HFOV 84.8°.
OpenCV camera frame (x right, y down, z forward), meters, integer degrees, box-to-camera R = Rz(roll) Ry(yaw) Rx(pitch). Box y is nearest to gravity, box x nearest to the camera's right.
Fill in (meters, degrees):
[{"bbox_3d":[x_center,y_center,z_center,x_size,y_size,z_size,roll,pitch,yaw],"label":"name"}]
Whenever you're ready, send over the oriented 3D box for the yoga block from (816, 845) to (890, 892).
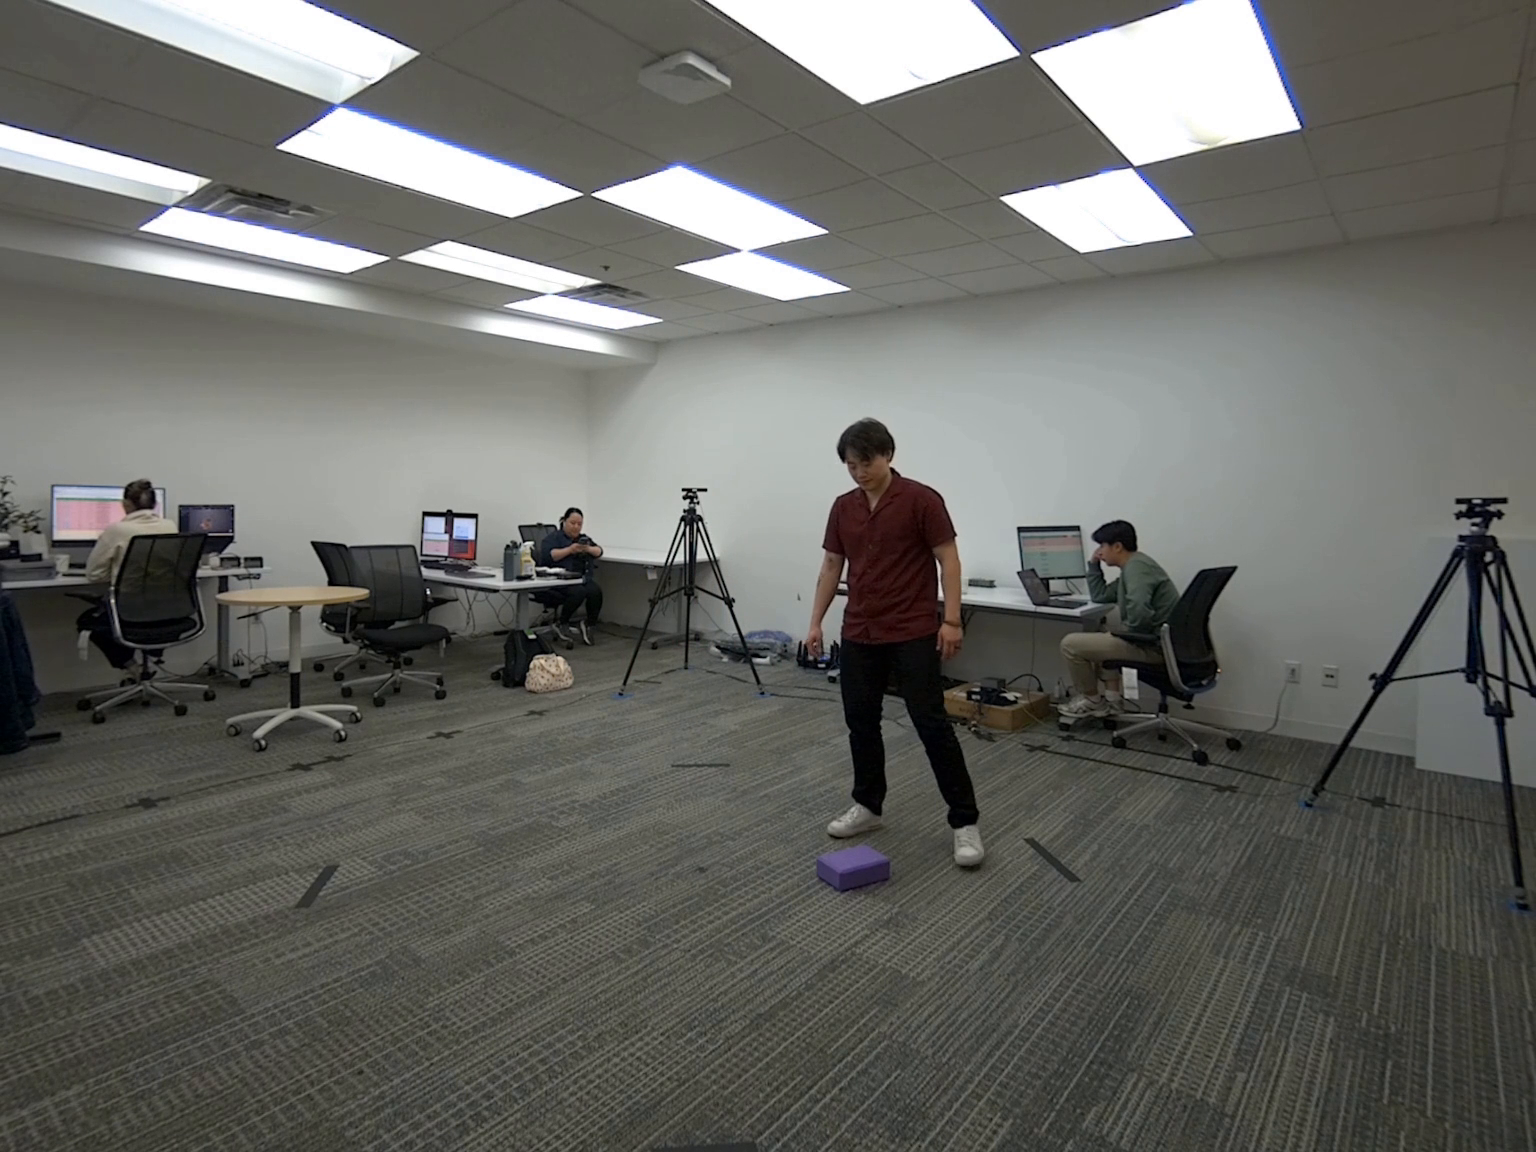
[{"bbox_3d":[0.301,1.043,3.065,0.223,0.076,0.154,-3,6,-32],"label":"yoga block"}]
